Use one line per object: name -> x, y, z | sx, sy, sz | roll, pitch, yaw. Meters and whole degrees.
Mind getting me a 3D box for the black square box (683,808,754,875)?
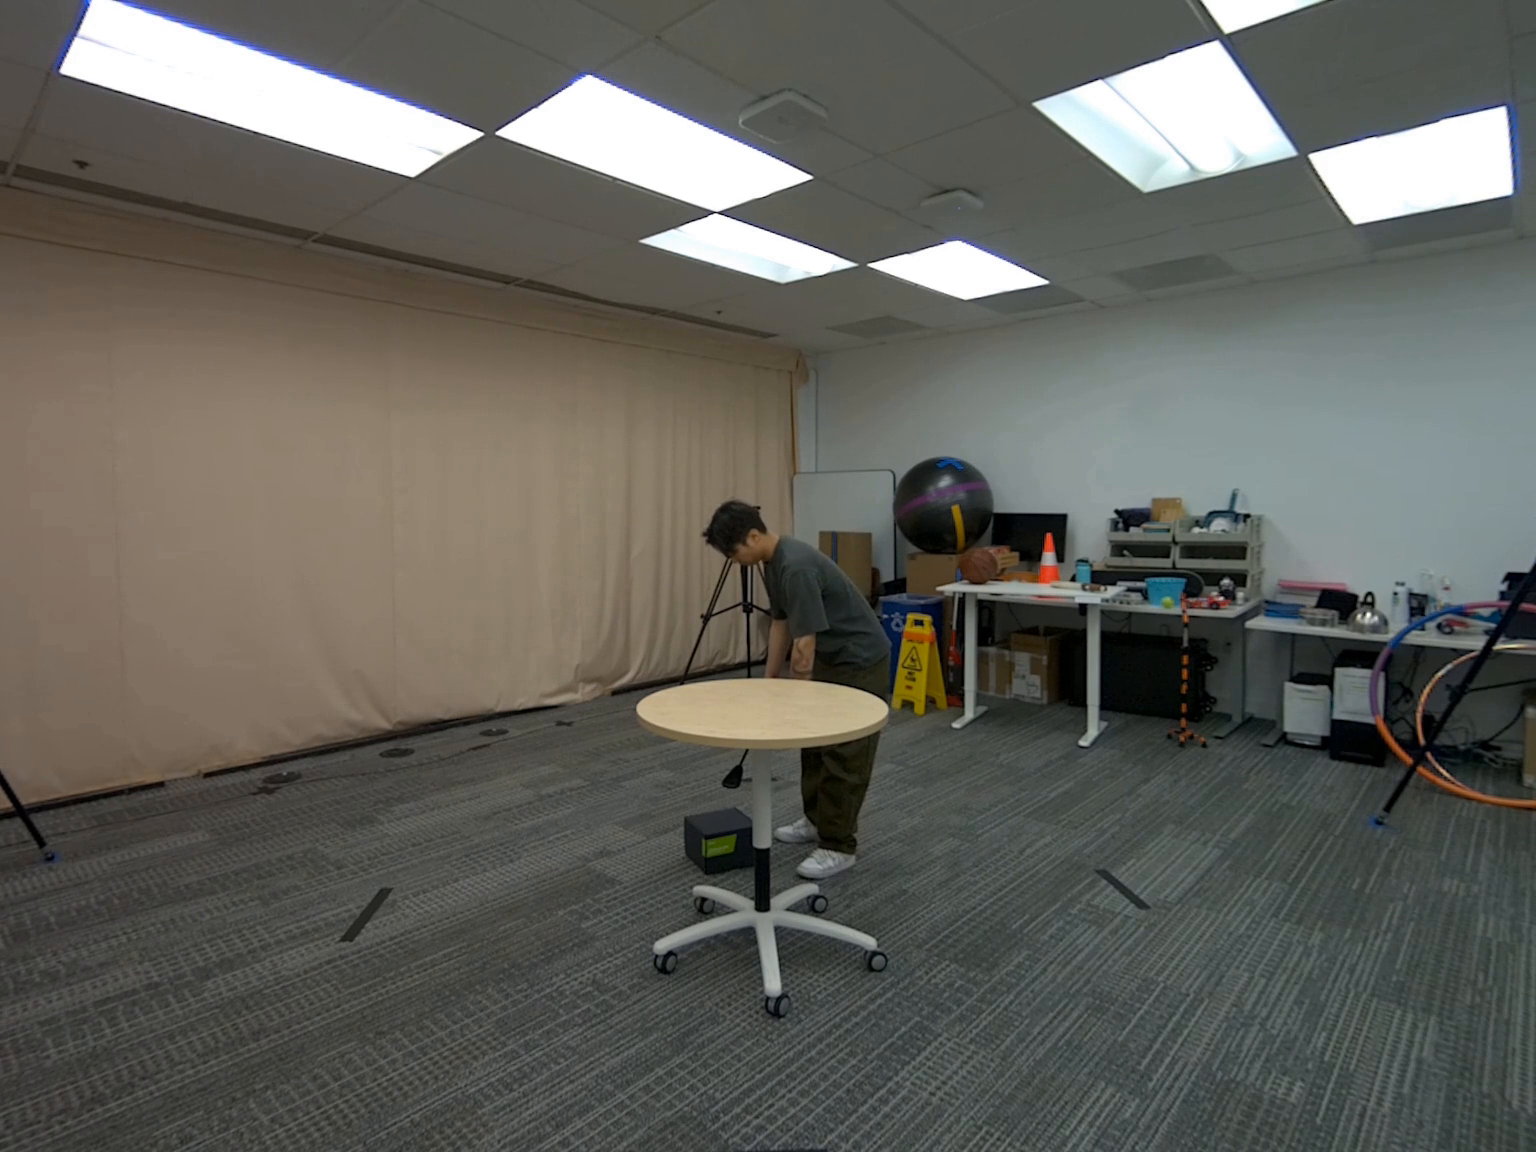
black square box -> -0.183, 1.035, 3.313 | 0.222, 0.155, 0.223 | -3, 5, -26
